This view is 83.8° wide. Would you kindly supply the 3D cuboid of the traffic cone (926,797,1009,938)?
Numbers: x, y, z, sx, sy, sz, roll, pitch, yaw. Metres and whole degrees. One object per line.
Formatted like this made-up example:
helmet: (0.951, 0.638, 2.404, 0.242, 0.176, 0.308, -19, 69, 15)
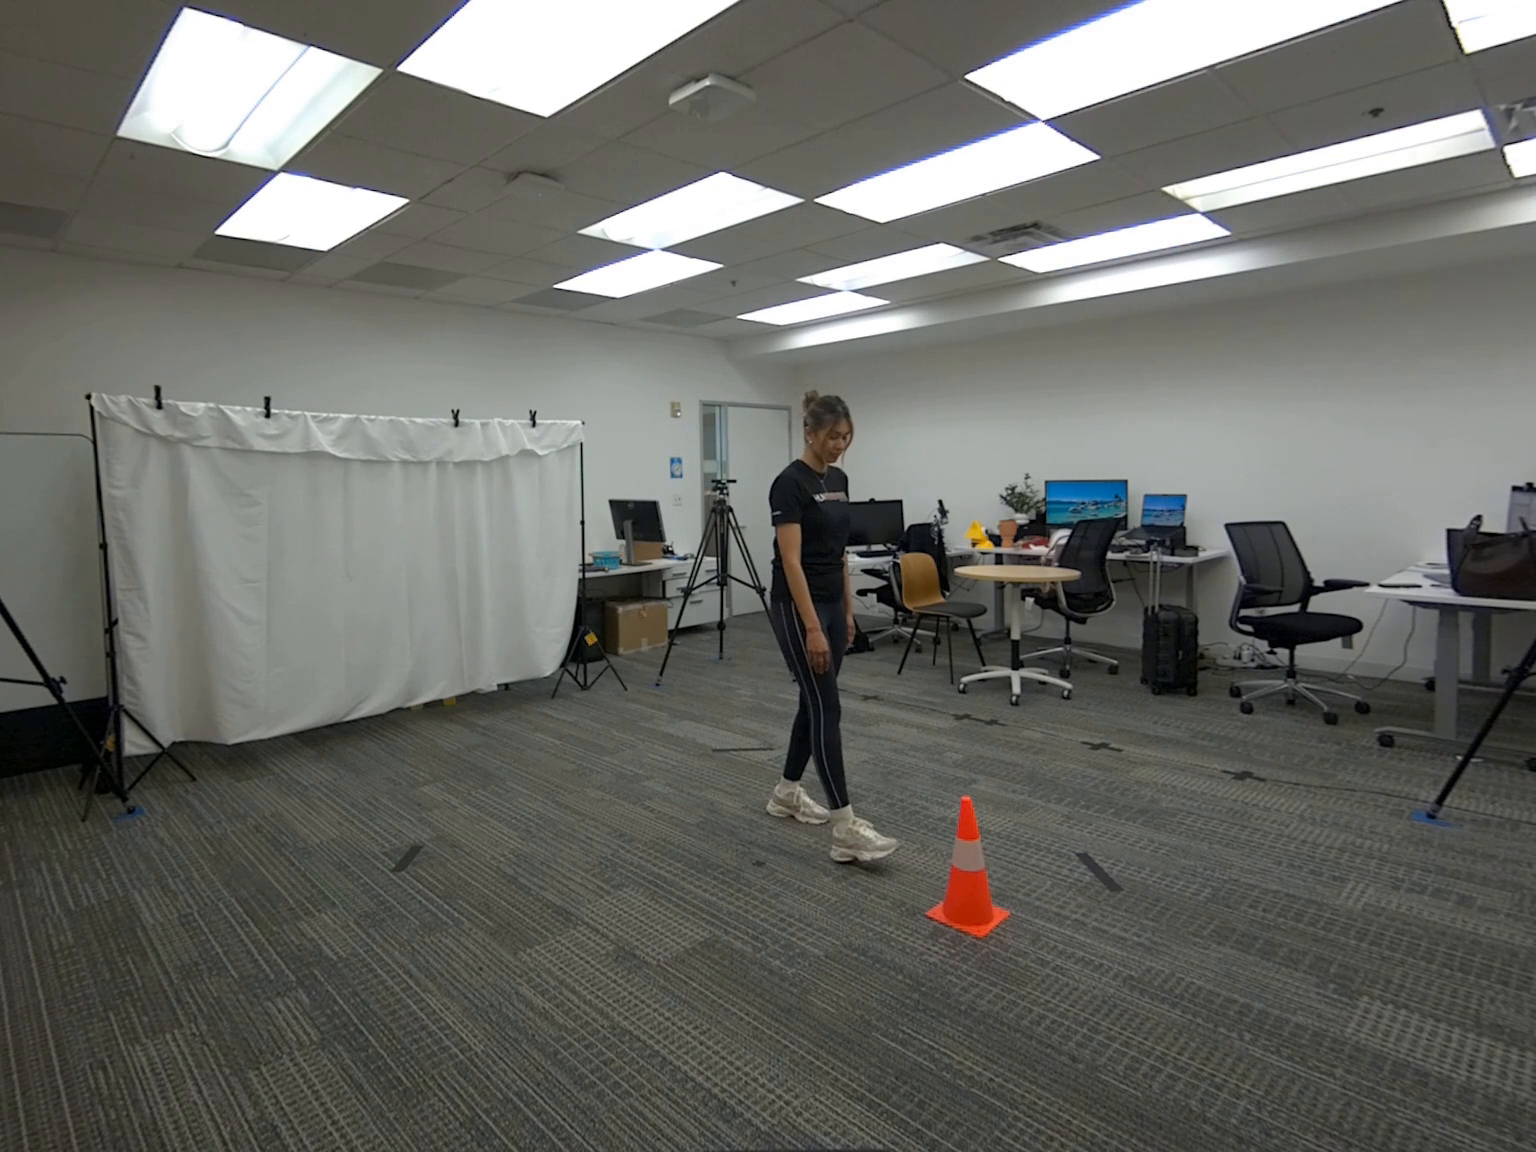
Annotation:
traffic cone: (0.640, 0.893, 2.711, 0.211, 0.383, 0.198, 1, 4, 45)
